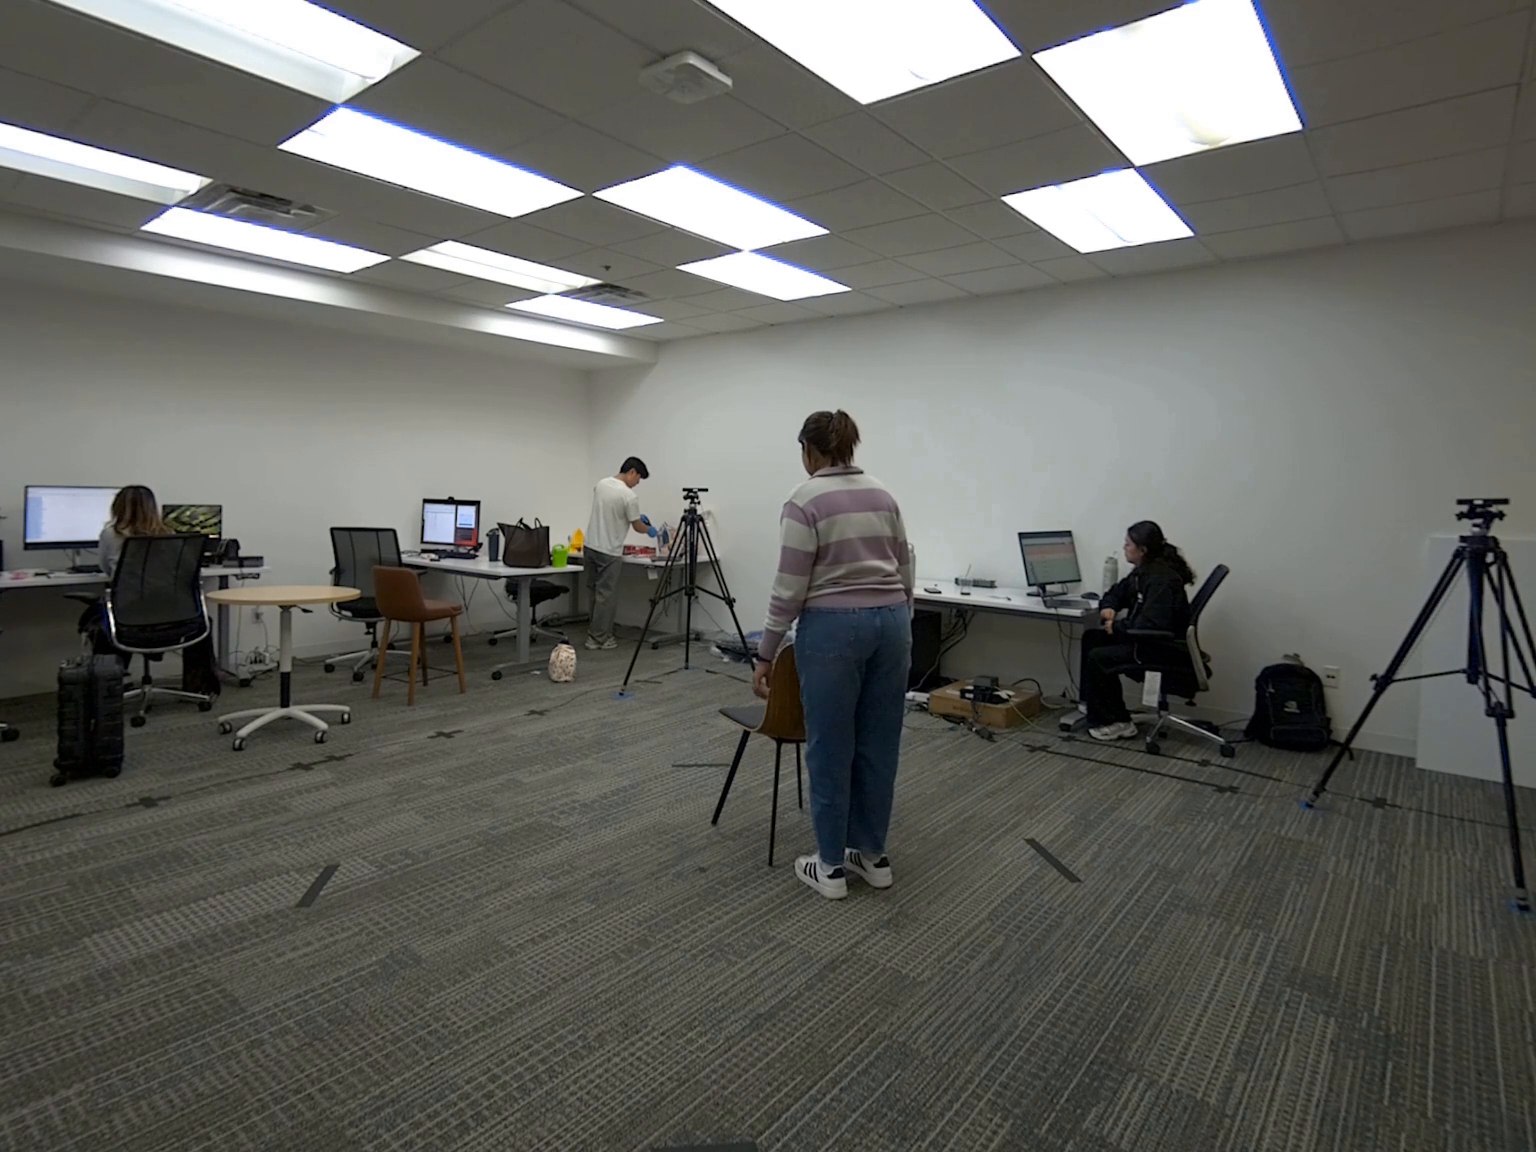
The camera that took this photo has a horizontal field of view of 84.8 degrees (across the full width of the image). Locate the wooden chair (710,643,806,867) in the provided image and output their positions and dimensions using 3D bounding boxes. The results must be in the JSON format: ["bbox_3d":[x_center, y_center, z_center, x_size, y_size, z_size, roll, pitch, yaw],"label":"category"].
[{"bbox_3d":[0.069,0.617,3.425,0.465,0.872,0.541,-1,8,-31],"label":"wooden chair"}]
